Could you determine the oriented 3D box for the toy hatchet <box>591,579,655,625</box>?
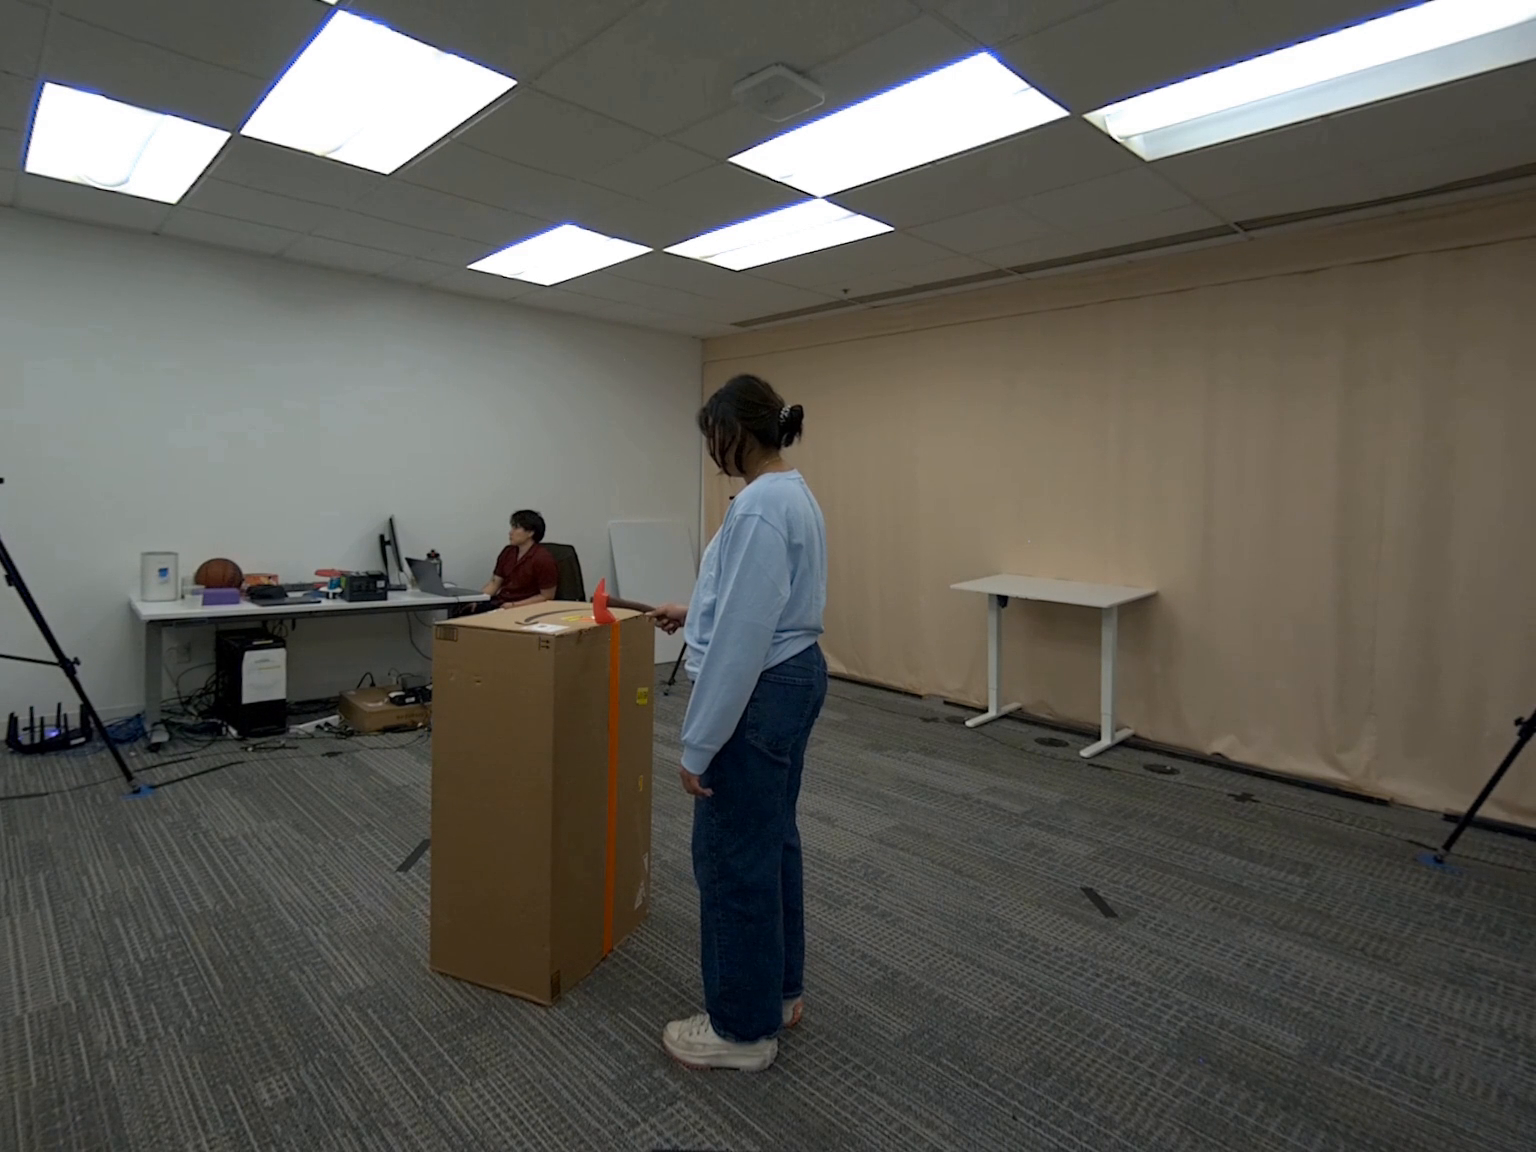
[{"bbox_3d":[-0.406,0.112,2.409,0.270,0.131,0.029,26,7,1],"label":"toy hatchet"}]
